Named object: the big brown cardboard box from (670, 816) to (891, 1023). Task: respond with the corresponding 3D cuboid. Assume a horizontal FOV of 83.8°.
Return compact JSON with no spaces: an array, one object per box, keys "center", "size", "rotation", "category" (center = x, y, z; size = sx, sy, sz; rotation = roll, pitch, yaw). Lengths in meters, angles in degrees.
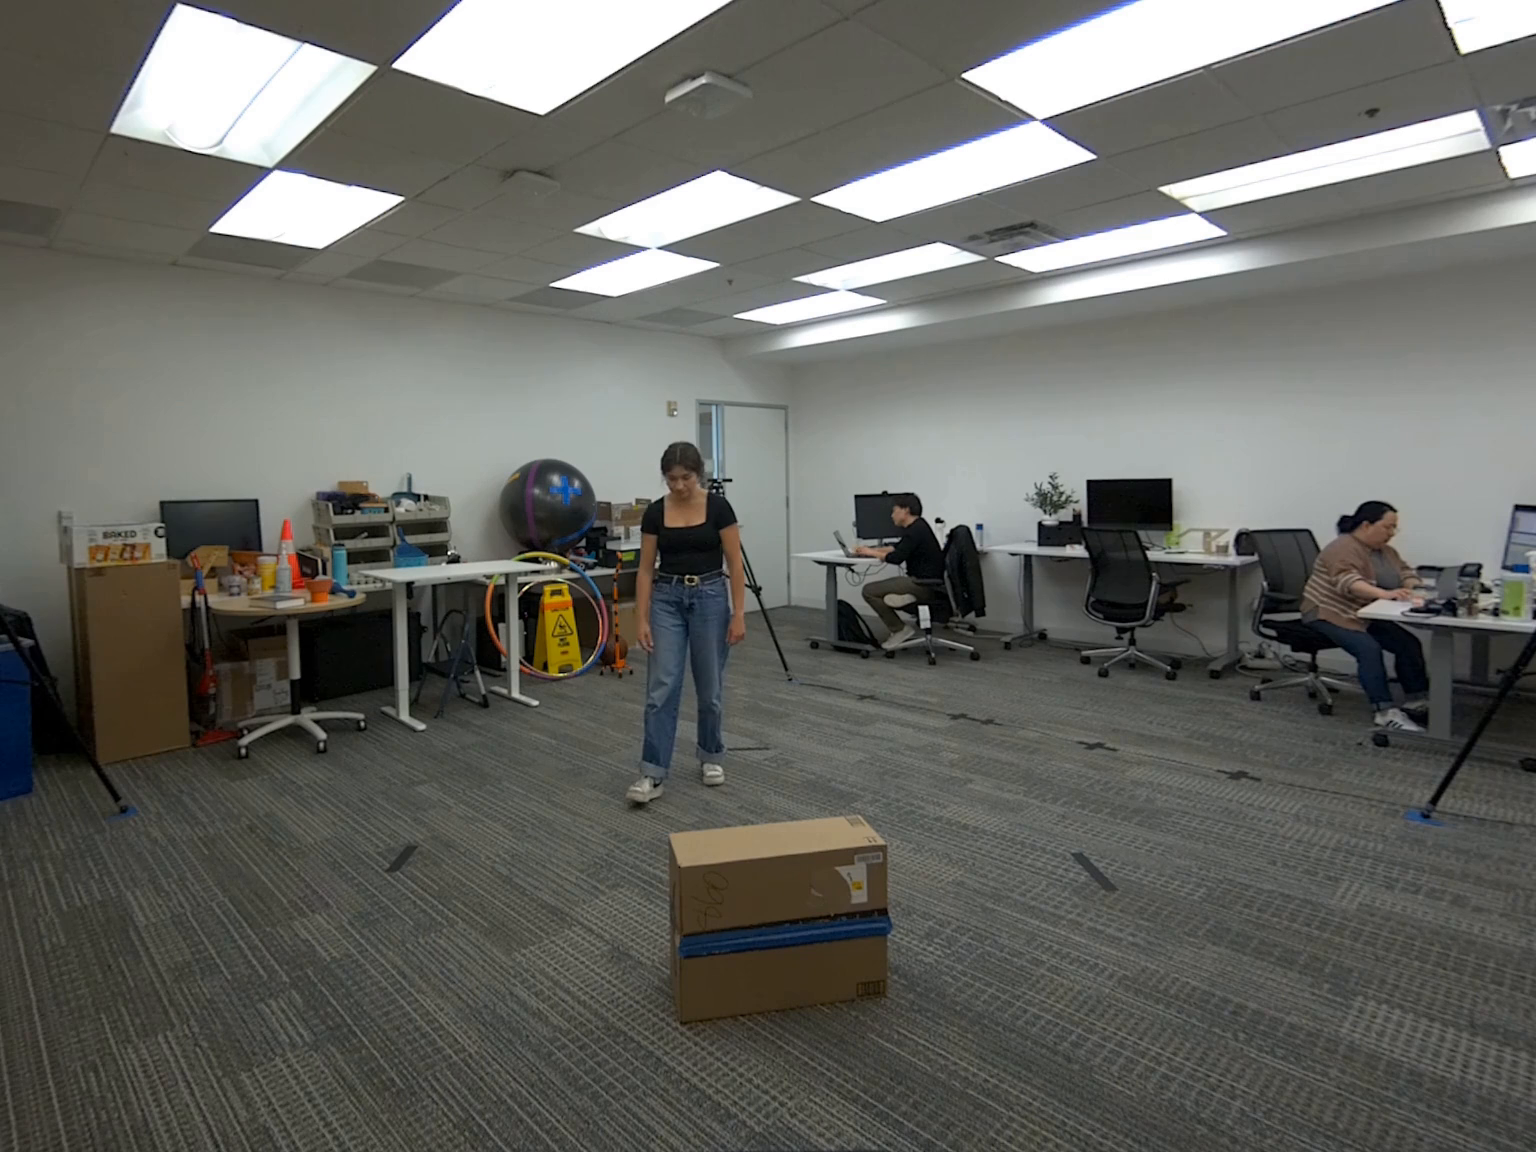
[{"center":[0.033,0.926,2.339],"size":[0.583,0.416,0.236],"rotation":[-3,4,-10],"category":"big brown cardboard box"}]
